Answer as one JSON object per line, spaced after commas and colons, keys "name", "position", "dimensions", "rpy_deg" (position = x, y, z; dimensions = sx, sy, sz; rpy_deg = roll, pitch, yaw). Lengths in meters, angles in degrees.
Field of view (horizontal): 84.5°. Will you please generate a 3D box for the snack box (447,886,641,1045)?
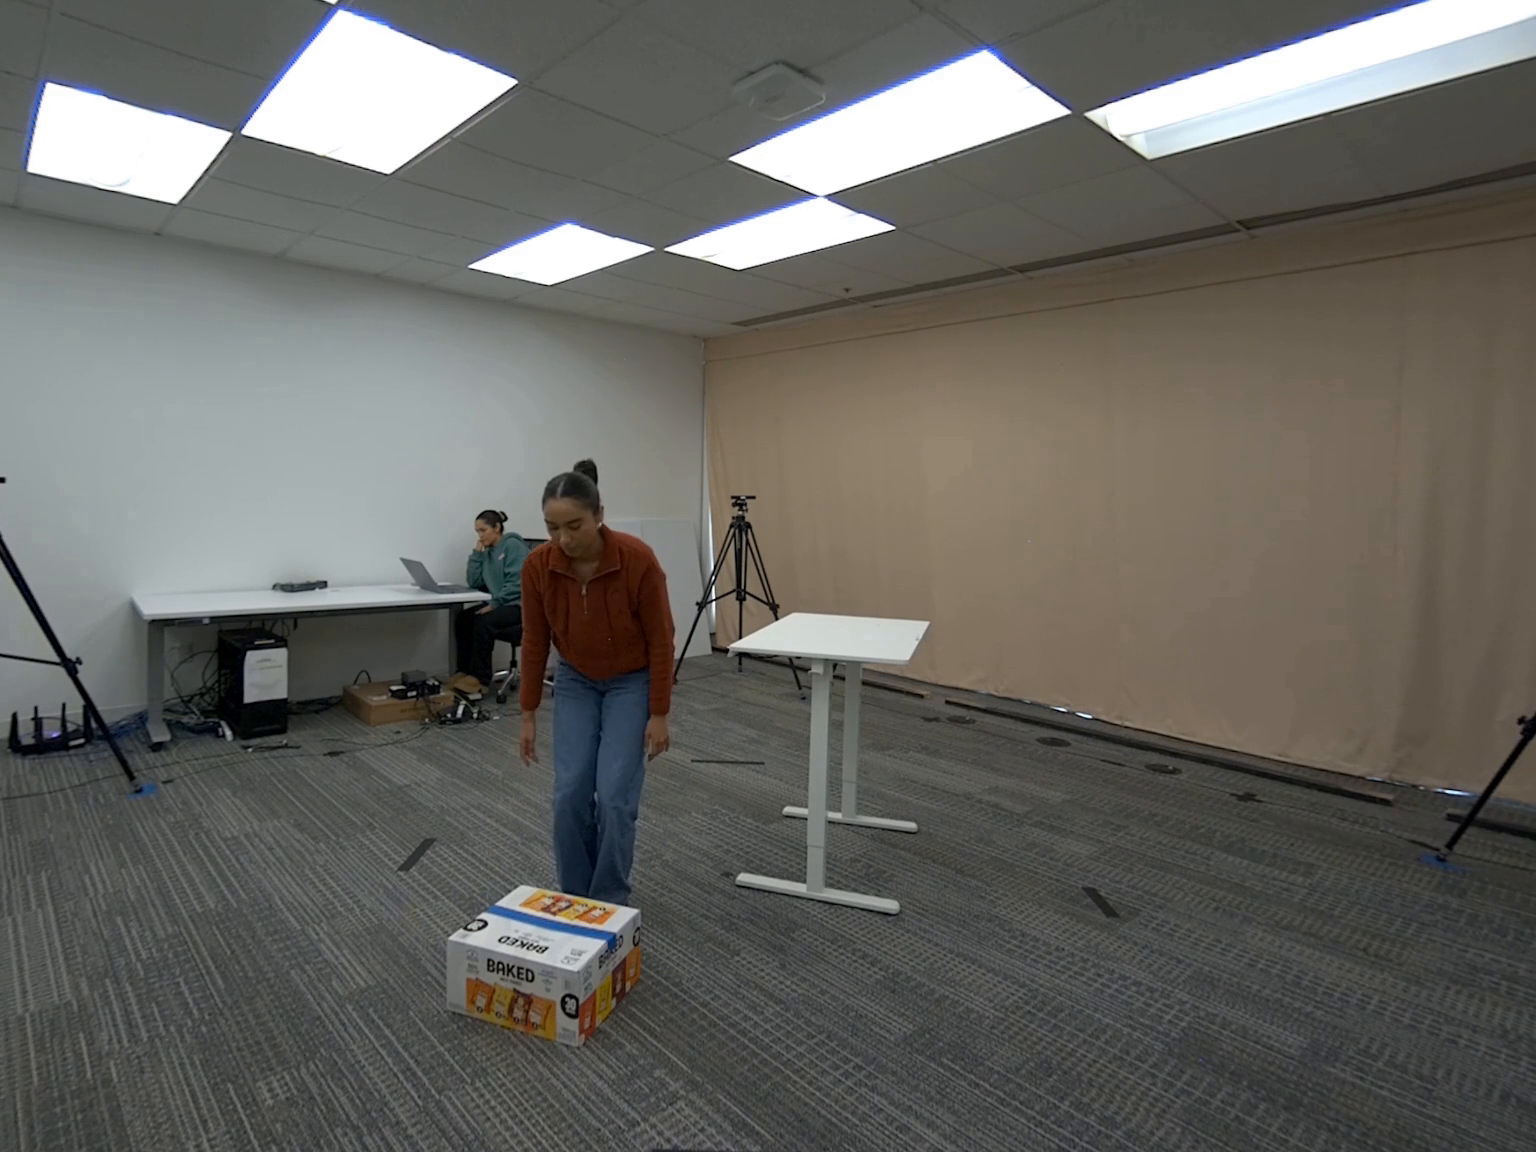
{"name": "snack box", "position": [-0.617, 1.064, 2.323], "dimensions": [0.412, 0.205, 0.336], "rpy_deg": [3, 5, 20]}
